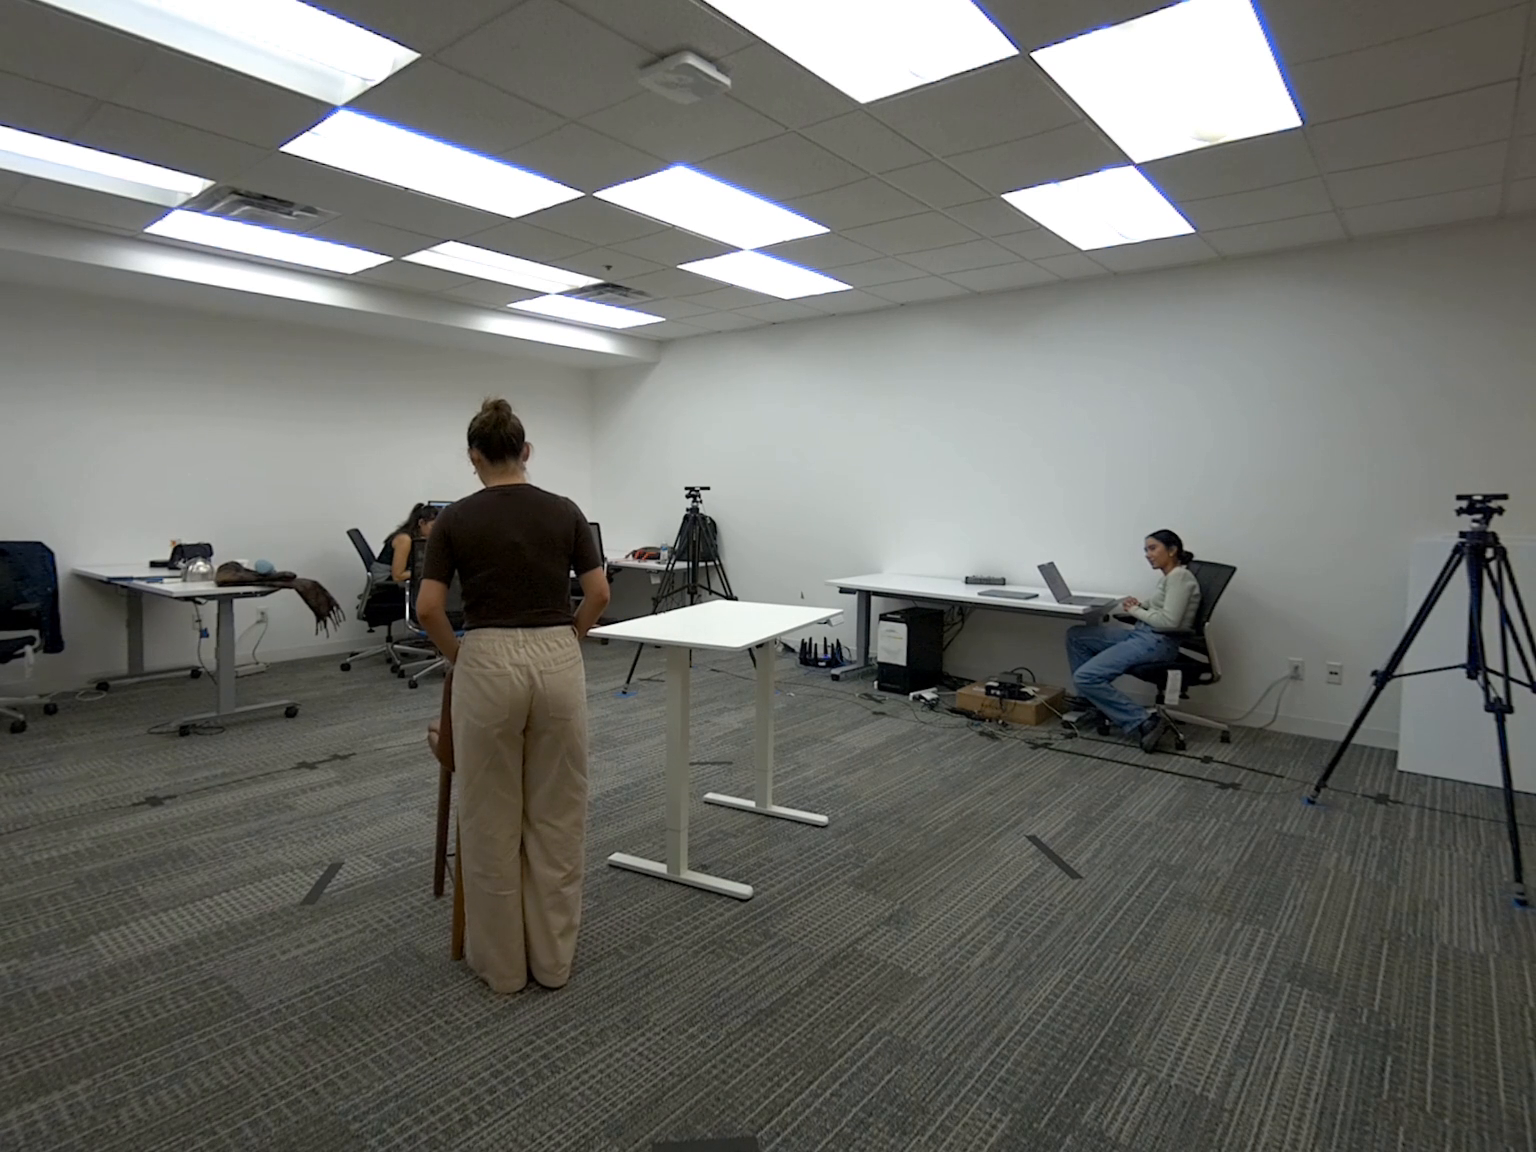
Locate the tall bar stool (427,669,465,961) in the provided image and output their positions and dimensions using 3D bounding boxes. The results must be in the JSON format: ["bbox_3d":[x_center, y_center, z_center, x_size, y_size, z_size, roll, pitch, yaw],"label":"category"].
[{"bbox_3d":[-0.849,0.654,2.729,0.446,0.886,0.480,-1,5,-24],"label":"tall bar stool"}]
